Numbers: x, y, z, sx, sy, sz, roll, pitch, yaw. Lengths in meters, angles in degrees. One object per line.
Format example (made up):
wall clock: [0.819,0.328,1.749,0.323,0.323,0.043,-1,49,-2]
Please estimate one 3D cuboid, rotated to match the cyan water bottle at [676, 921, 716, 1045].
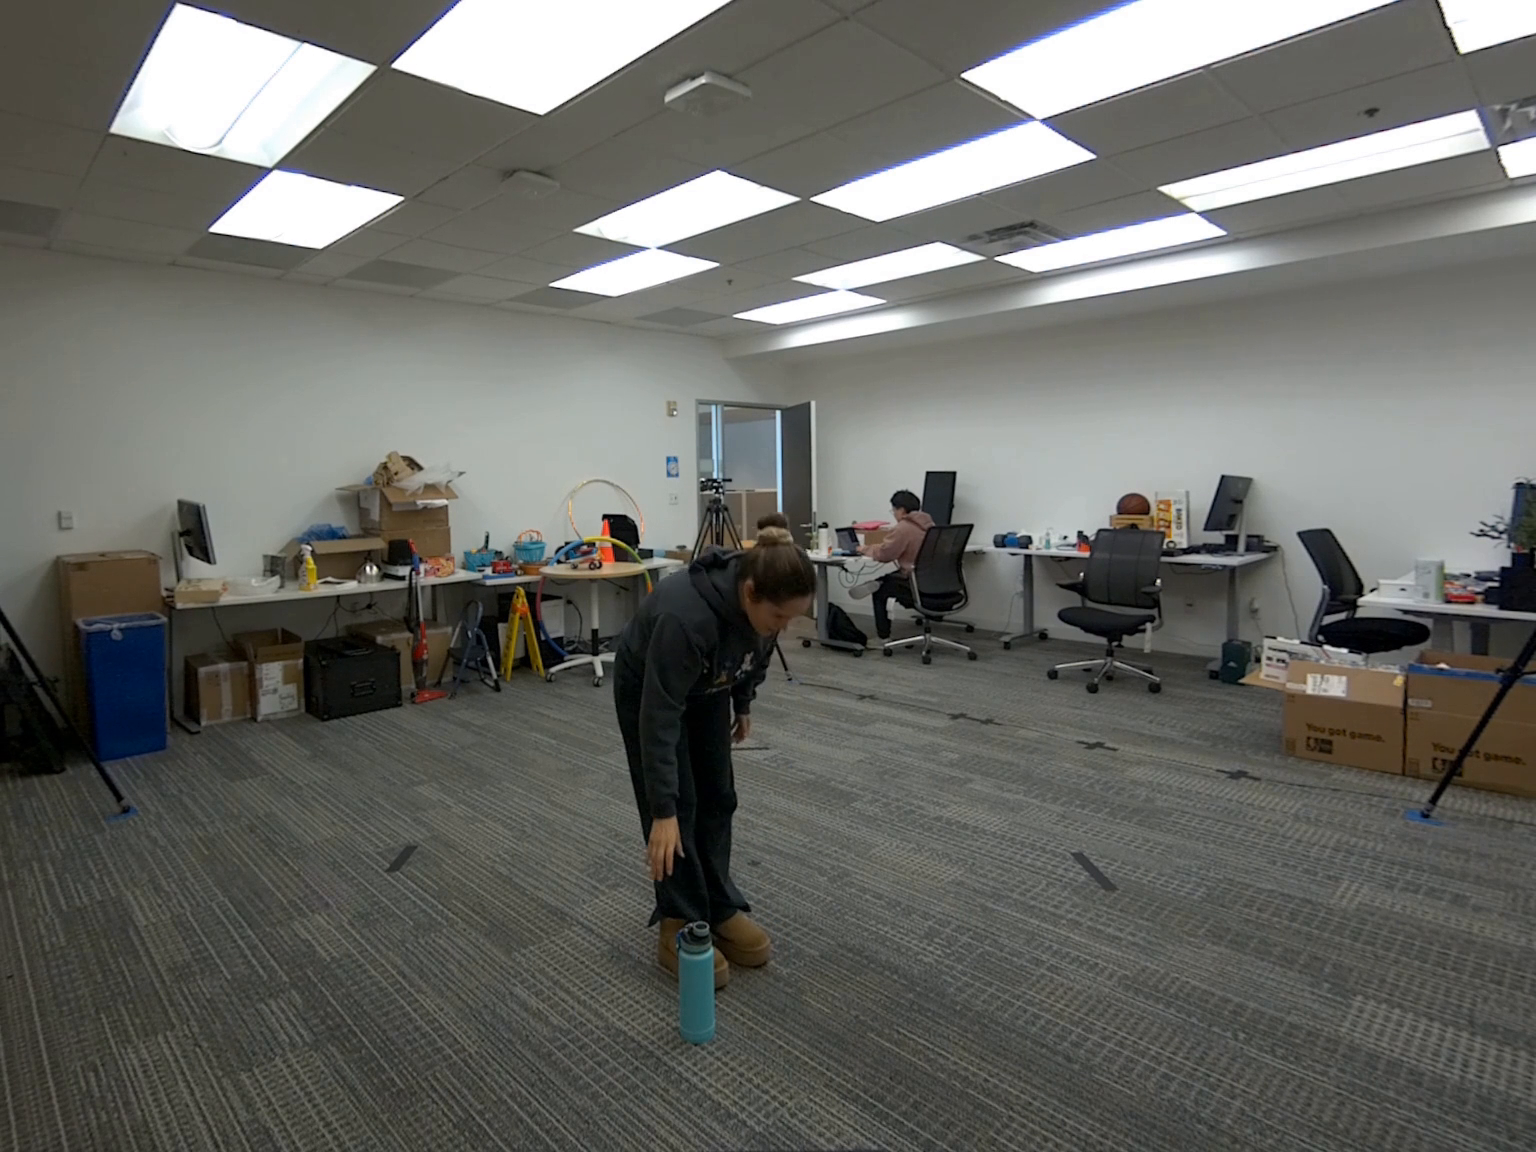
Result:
cyan water bottle: [-0.181,1.021,2.141,0.092,0.283,0.092,-4,3,-1]
